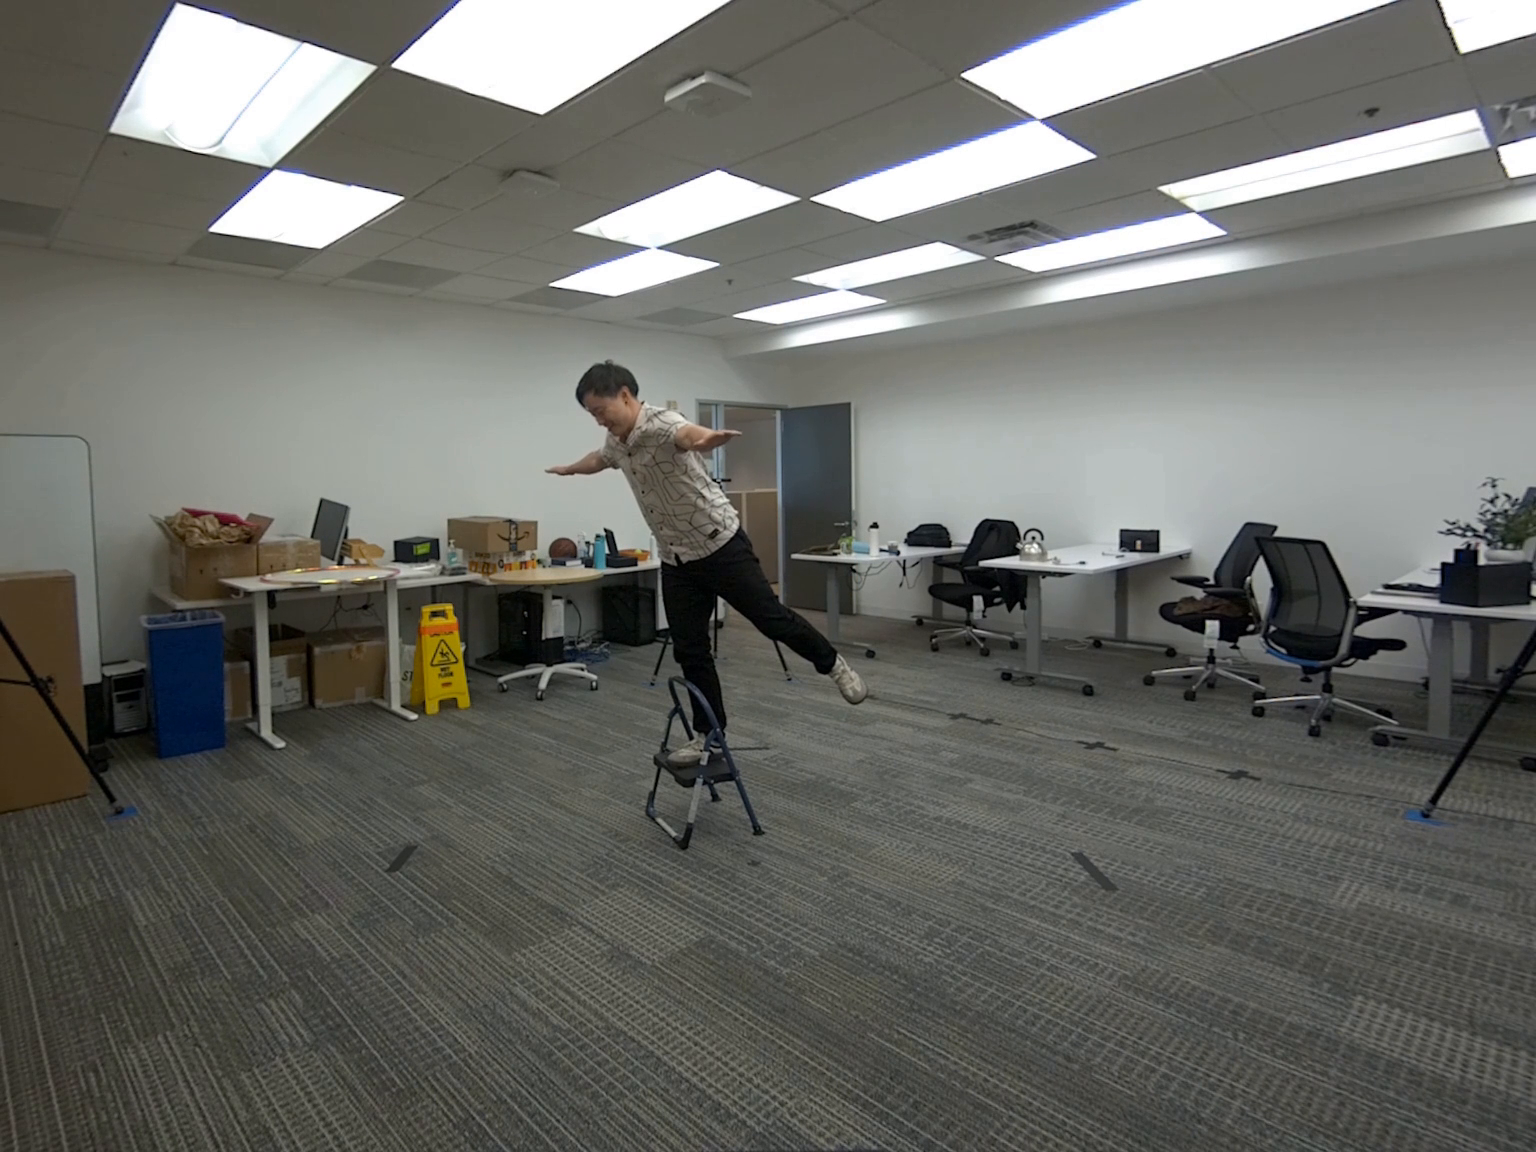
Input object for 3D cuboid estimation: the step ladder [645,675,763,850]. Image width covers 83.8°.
[{"bbox_3d":[-0.271,0.705,3.461,0.341,0.604,0.442,-3,5,-28],"label":"step ladder"}]
